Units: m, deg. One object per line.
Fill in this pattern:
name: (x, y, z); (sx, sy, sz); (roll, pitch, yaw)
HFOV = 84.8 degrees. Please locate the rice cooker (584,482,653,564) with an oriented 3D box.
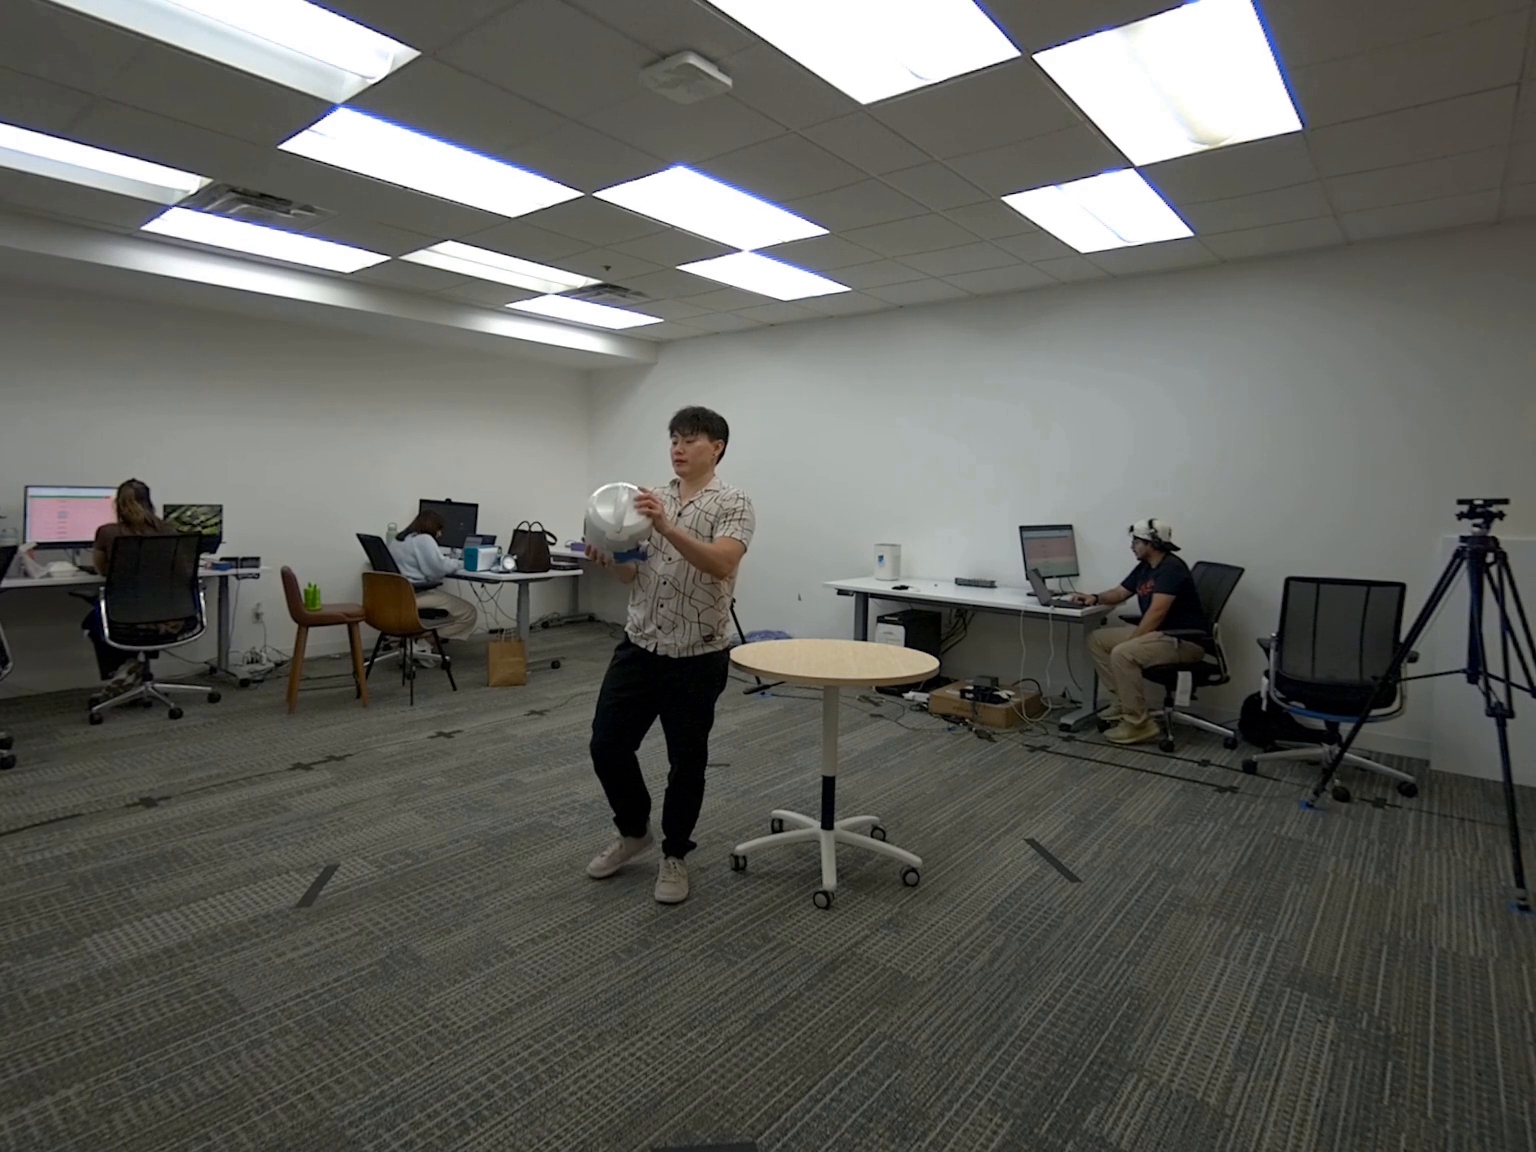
rice cooker: (-0.482, -0.174, 2.669); (0.215, 0.226, 0.229); (9, -34, -9)
